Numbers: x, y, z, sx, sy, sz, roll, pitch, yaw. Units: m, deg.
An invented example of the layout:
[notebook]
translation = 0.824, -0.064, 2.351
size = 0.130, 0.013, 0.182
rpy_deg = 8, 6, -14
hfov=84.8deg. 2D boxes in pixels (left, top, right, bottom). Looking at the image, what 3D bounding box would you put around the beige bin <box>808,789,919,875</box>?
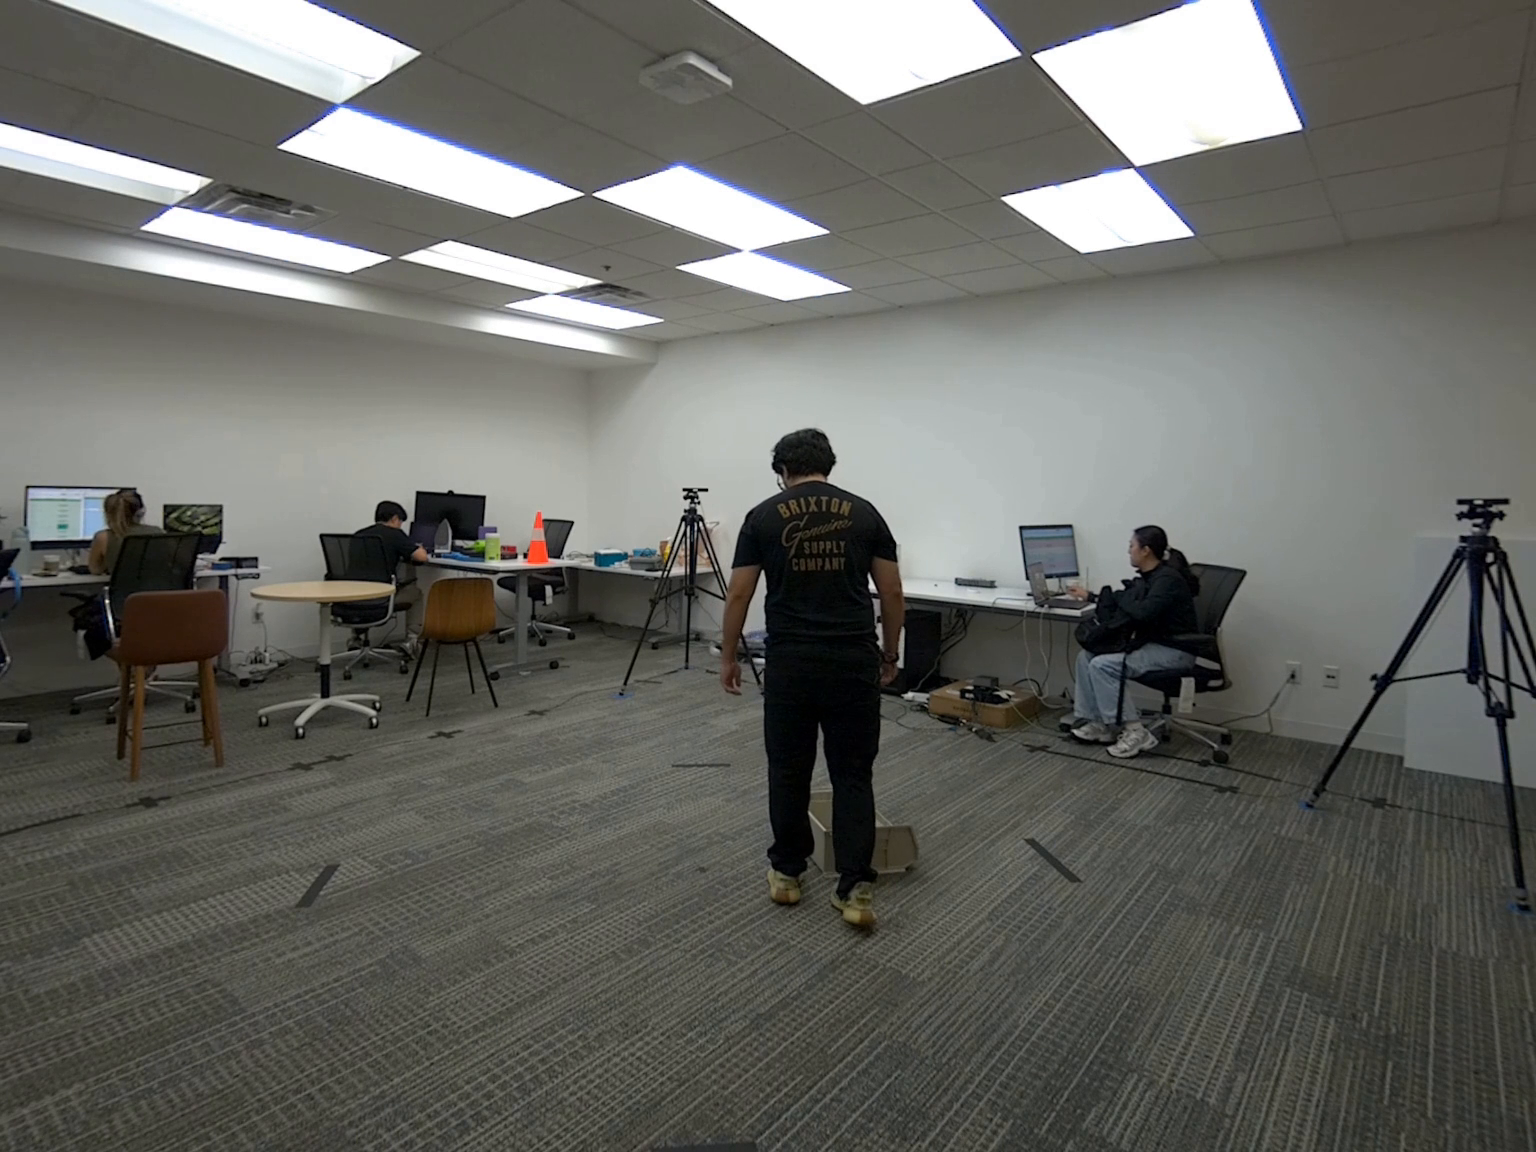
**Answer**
[beige bin]
translation = 0.327, 0.982, 3.293
size = 0.372, 0.188, 0.430
rpy_deg = 0, 5, -15
